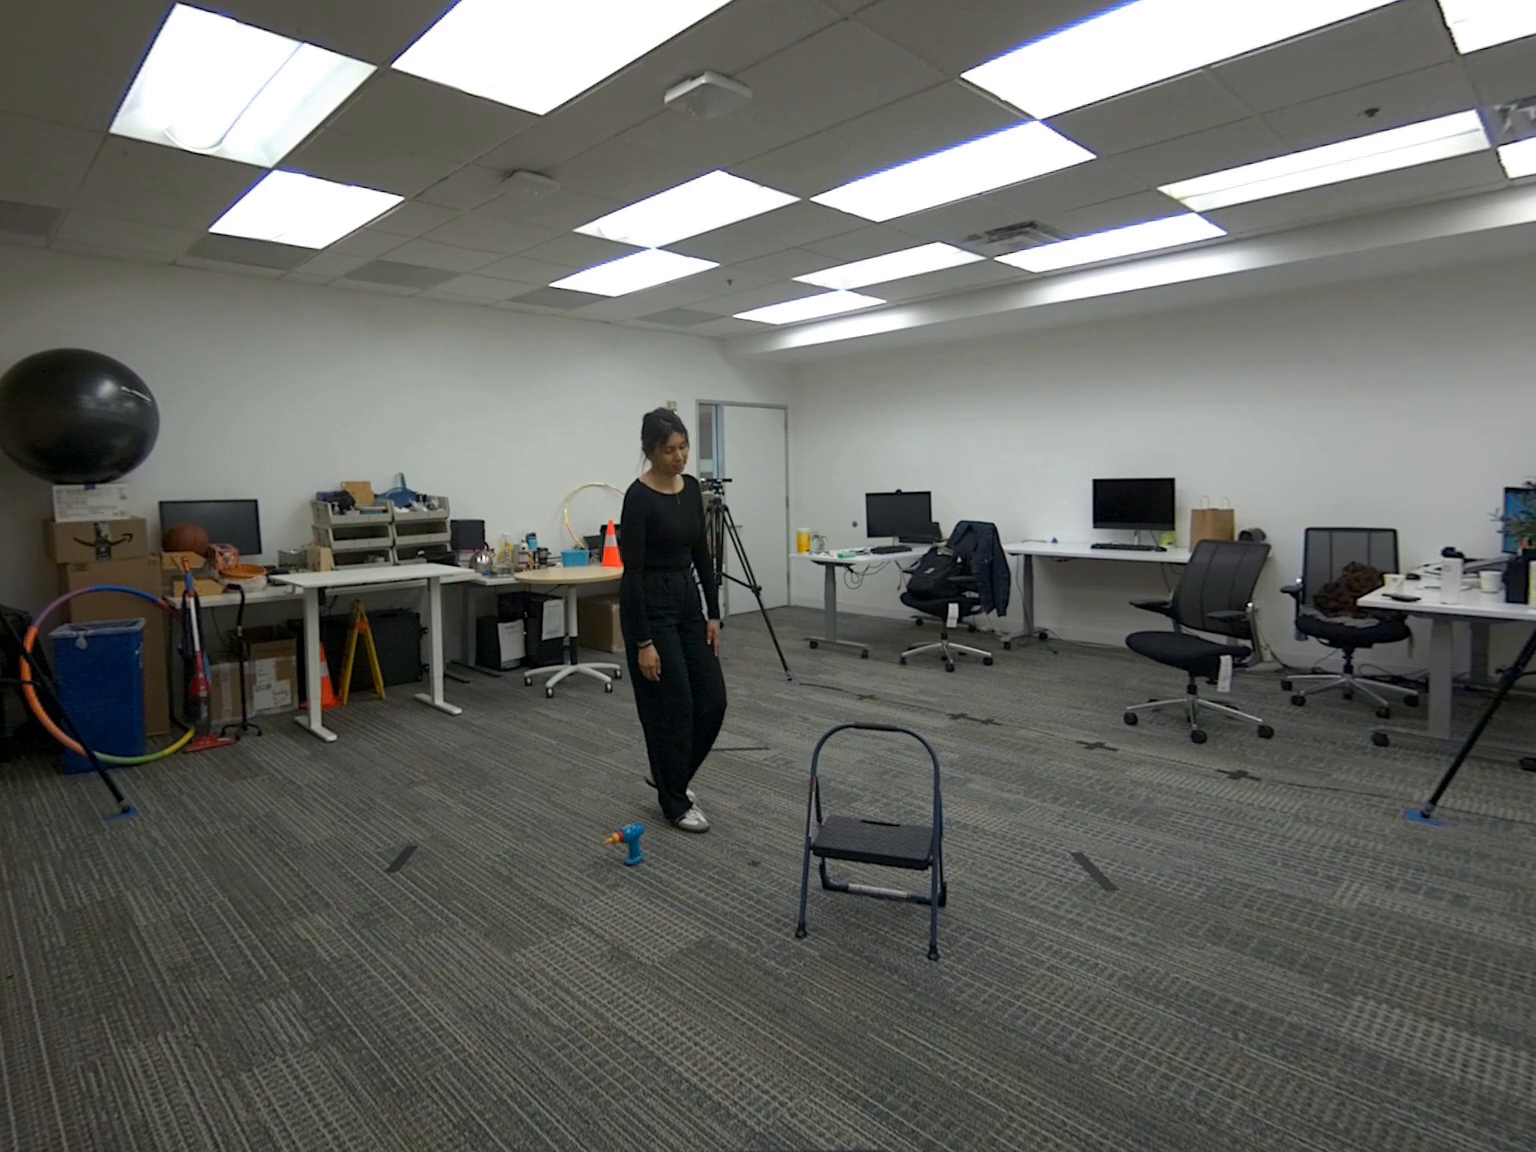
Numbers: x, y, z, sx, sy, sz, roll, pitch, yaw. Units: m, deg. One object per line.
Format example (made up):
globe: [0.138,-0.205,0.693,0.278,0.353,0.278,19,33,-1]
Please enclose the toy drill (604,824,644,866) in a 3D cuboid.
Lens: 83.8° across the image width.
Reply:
toy drill: [-0.518,0.981,3.099,0.063,0.145,0.165,5,10,45]
